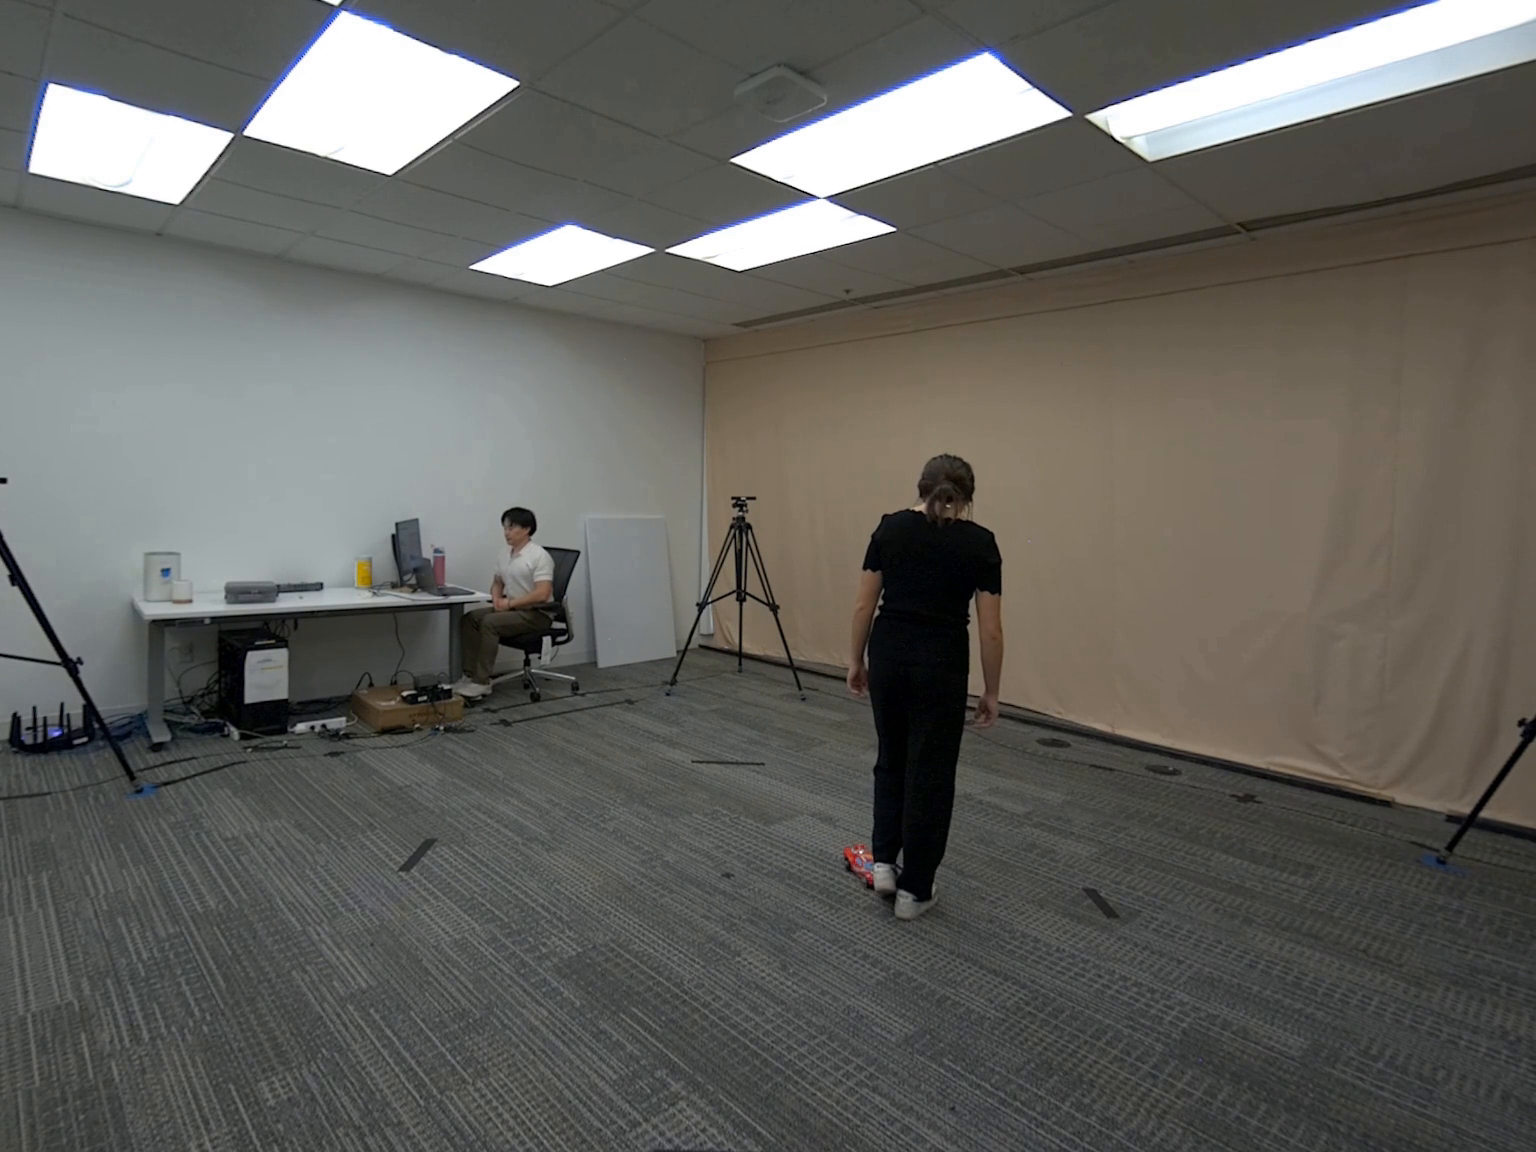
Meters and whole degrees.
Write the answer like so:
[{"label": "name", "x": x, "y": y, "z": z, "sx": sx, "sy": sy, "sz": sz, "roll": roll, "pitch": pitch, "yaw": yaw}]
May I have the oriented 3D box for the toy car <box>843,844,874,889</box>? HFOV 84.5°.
[{"label": "toy car", "x": 0.362, "y": 1.083, "z": 3.149, "sx": 0.128, "sy": 0.082, "sz": 0.261, "roll": 1, "pitch": 16, "yaw": -21}]
